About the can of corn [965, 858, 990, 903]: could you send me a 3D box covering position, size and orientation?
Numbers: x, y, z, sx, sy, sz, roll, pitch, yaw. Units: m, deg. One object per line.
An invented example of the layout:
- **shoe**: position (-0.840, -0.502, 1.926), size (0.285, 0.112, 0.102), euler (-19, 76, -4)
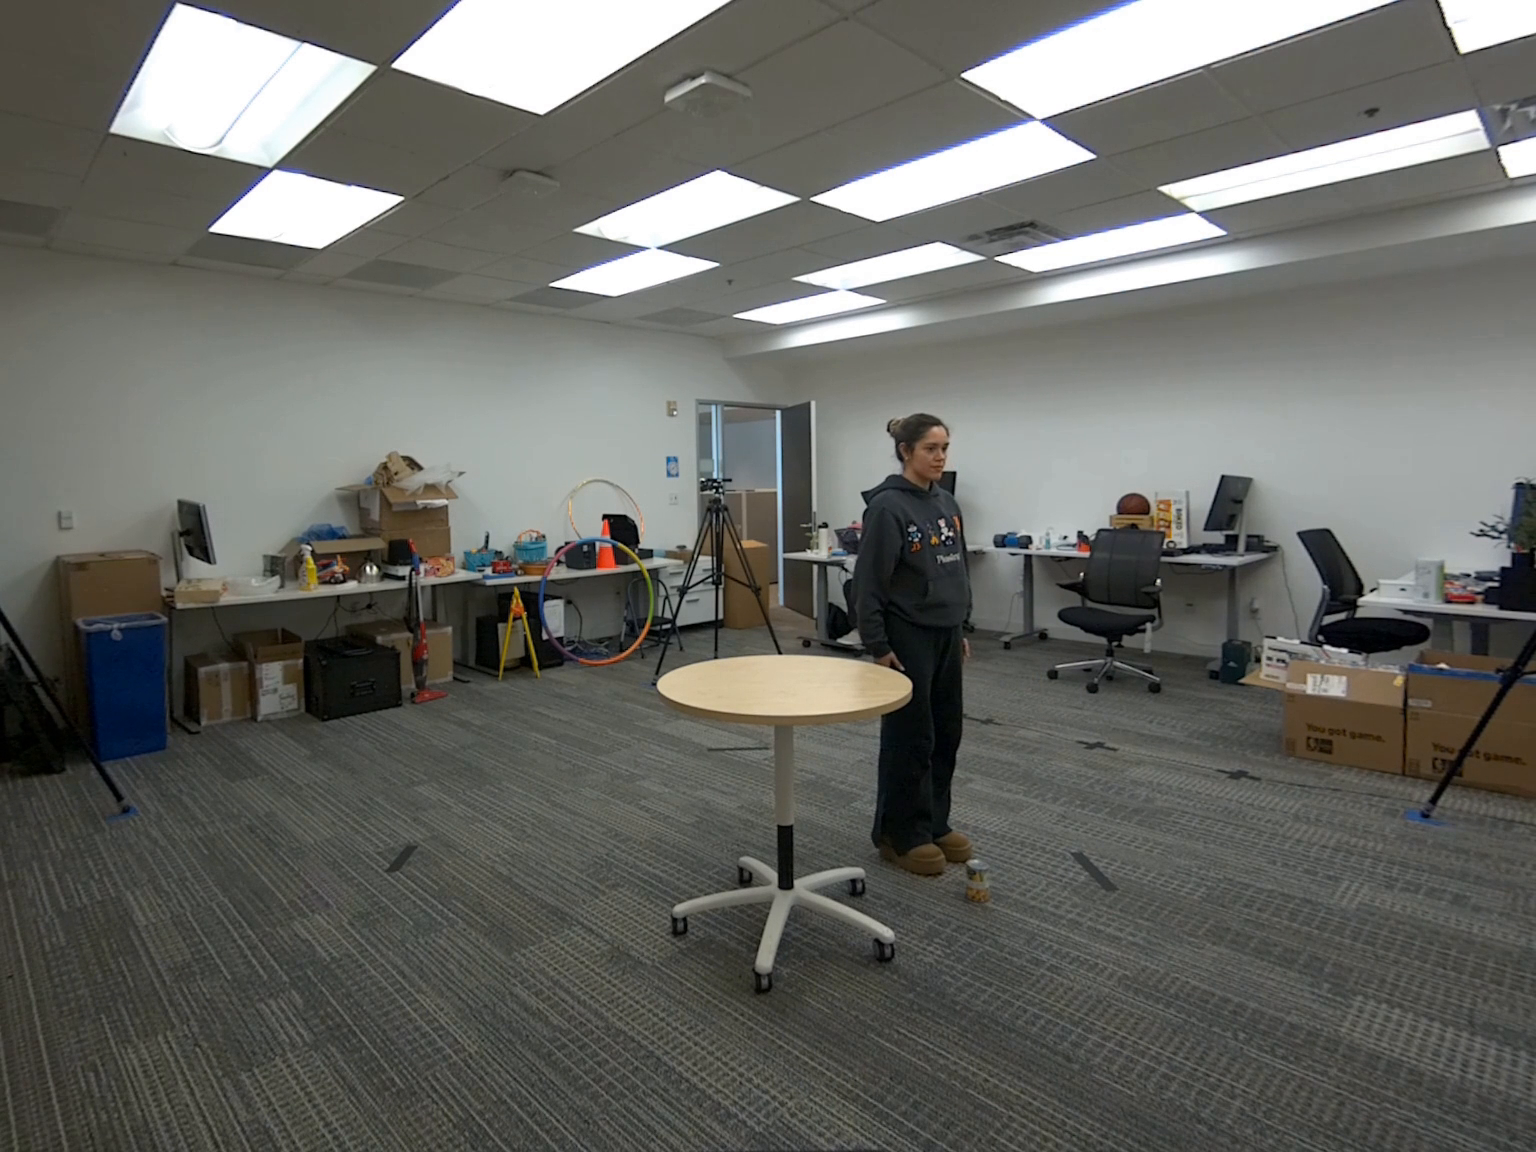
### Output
- **can of corn**: position (0.700, 1.016, 2.811), size (0.074, 0.111, 0.074), euler (-3, 4, -1)
